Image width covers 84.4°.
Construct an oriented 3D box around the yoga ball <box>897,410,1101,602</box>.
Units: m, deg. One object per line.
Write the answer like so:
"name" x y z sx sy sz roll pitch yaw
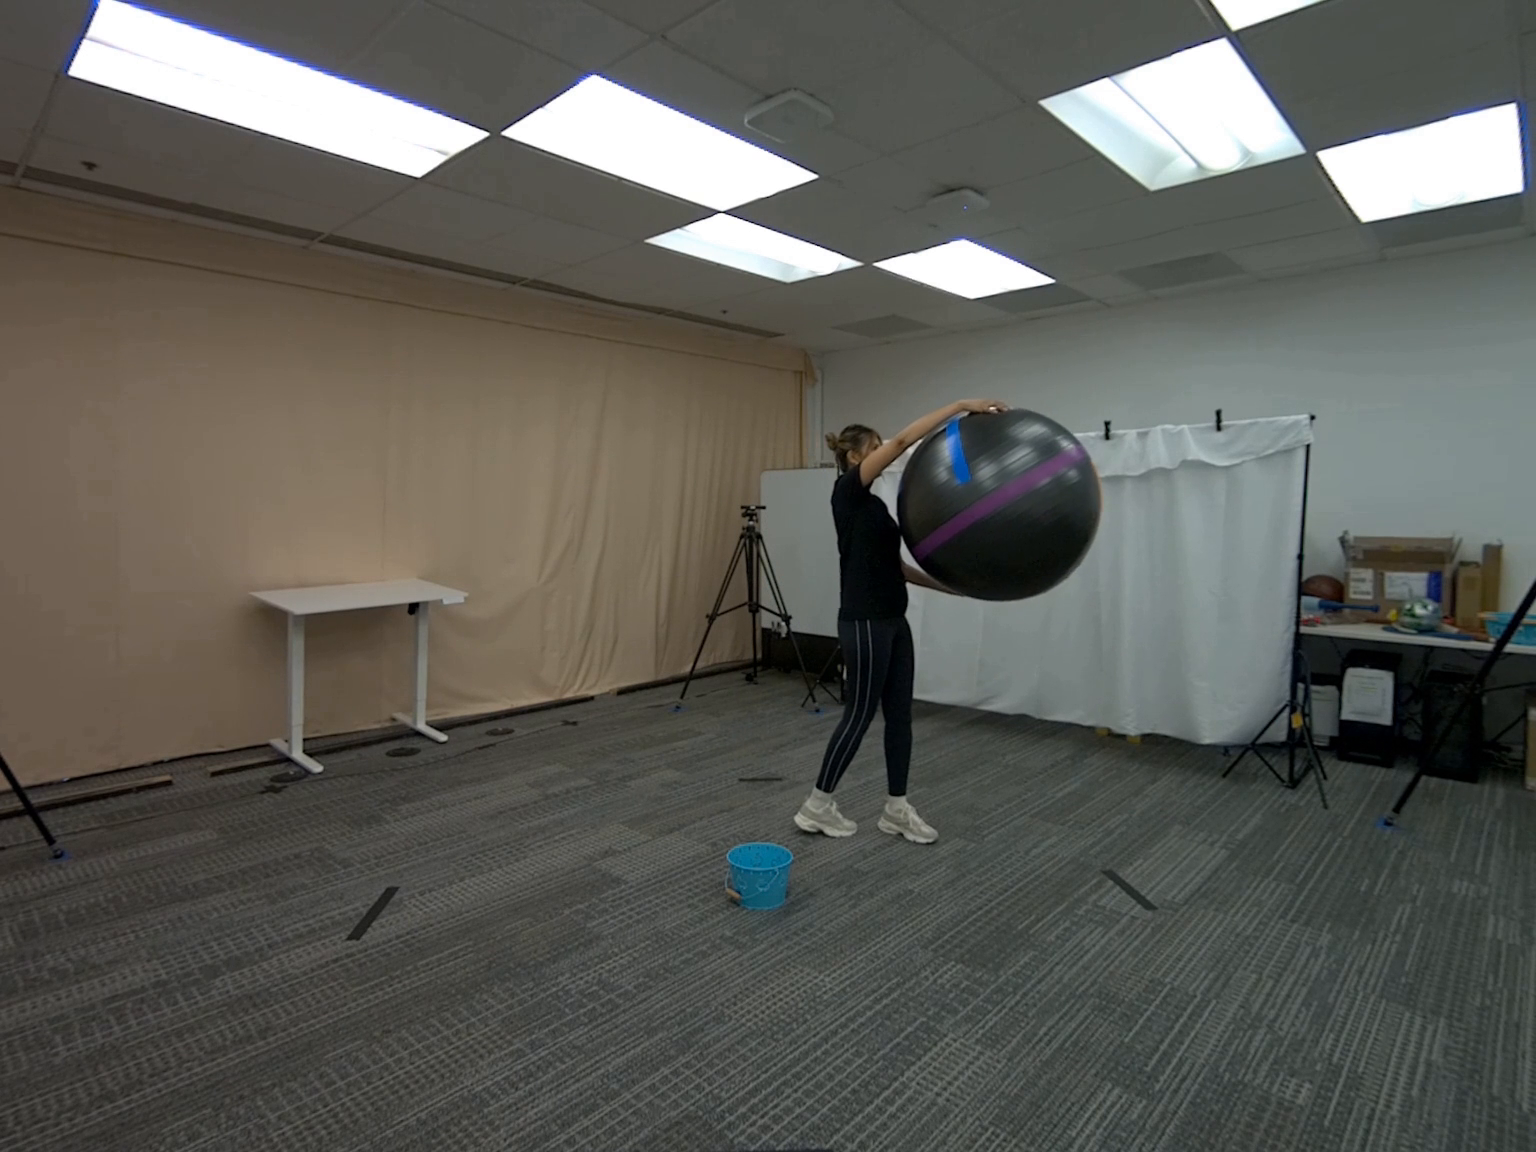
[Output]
"yoga ball" 0.907 -0.275 3.302 0.757 0.756 0.761 0 4 -2
